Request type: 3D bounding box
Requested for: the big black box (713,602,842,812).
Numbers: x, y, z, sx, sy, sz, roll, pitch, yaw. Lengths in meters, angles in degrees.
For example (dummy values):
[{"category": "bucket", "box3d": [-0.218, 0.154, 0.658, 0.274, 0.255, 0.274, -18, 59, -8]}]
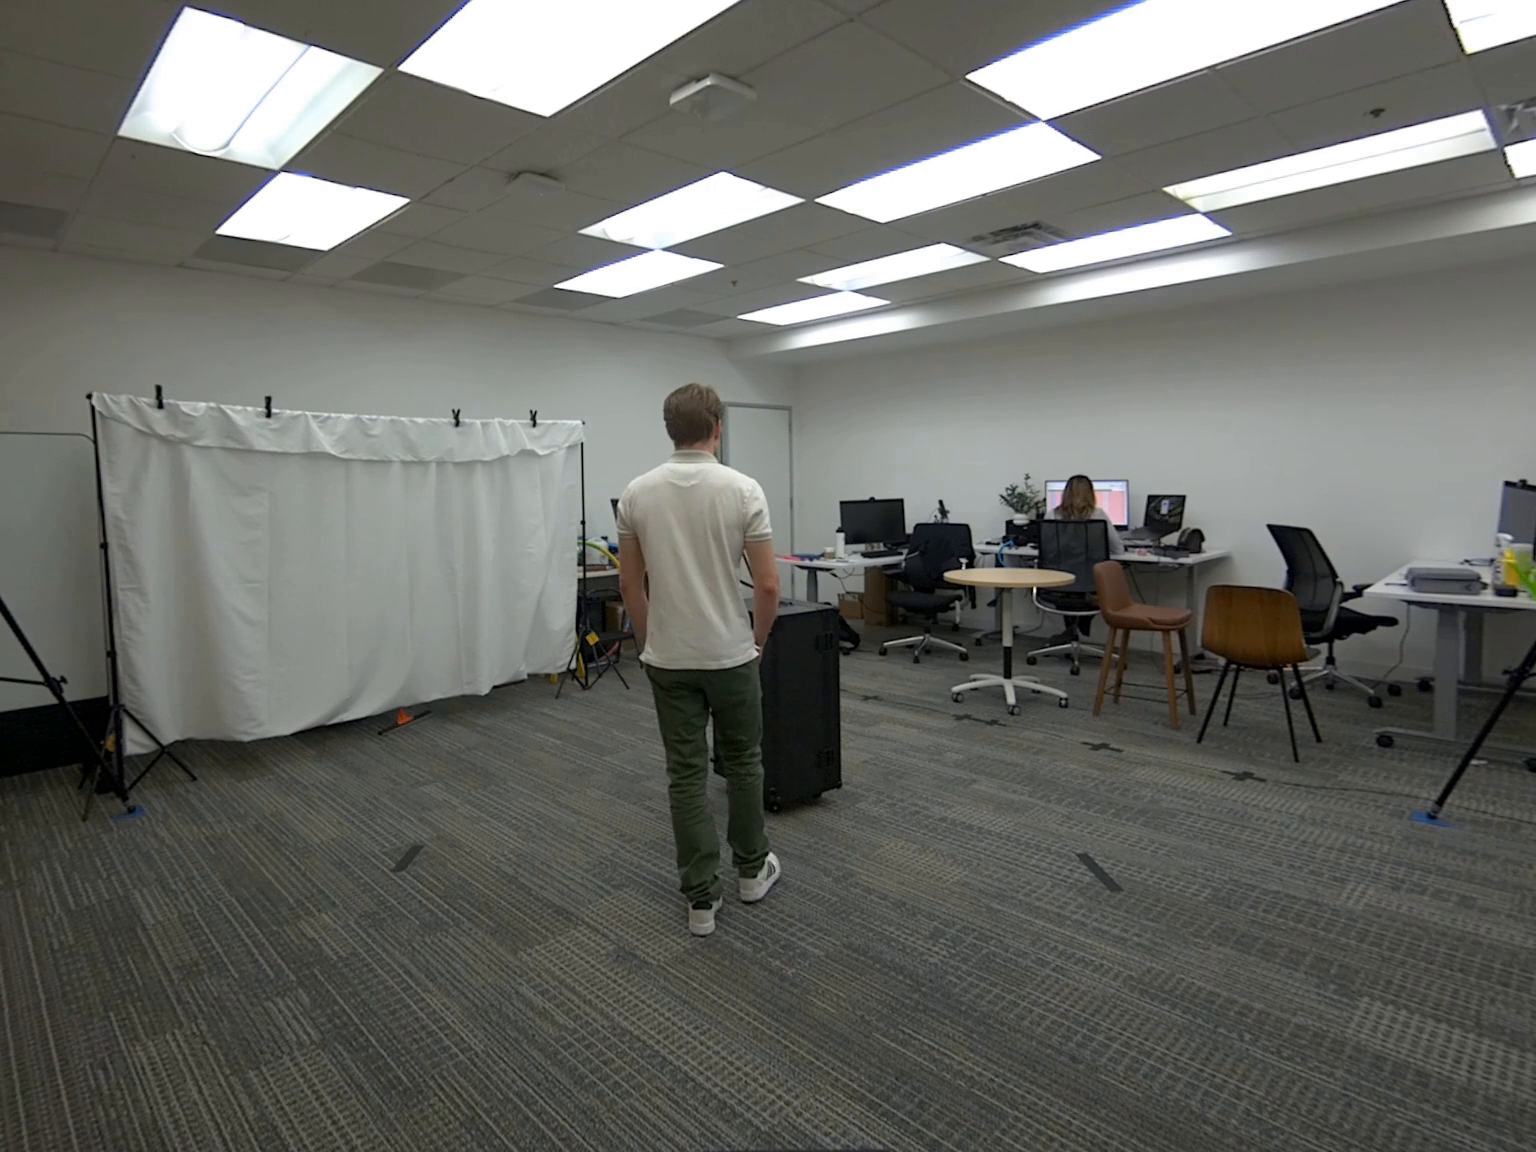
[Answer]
[{"category": "big black box", "box3d": [0.039, 0.552, 3.755, 0.376, 0.865, 0.538, -4, 5, -33]}]
